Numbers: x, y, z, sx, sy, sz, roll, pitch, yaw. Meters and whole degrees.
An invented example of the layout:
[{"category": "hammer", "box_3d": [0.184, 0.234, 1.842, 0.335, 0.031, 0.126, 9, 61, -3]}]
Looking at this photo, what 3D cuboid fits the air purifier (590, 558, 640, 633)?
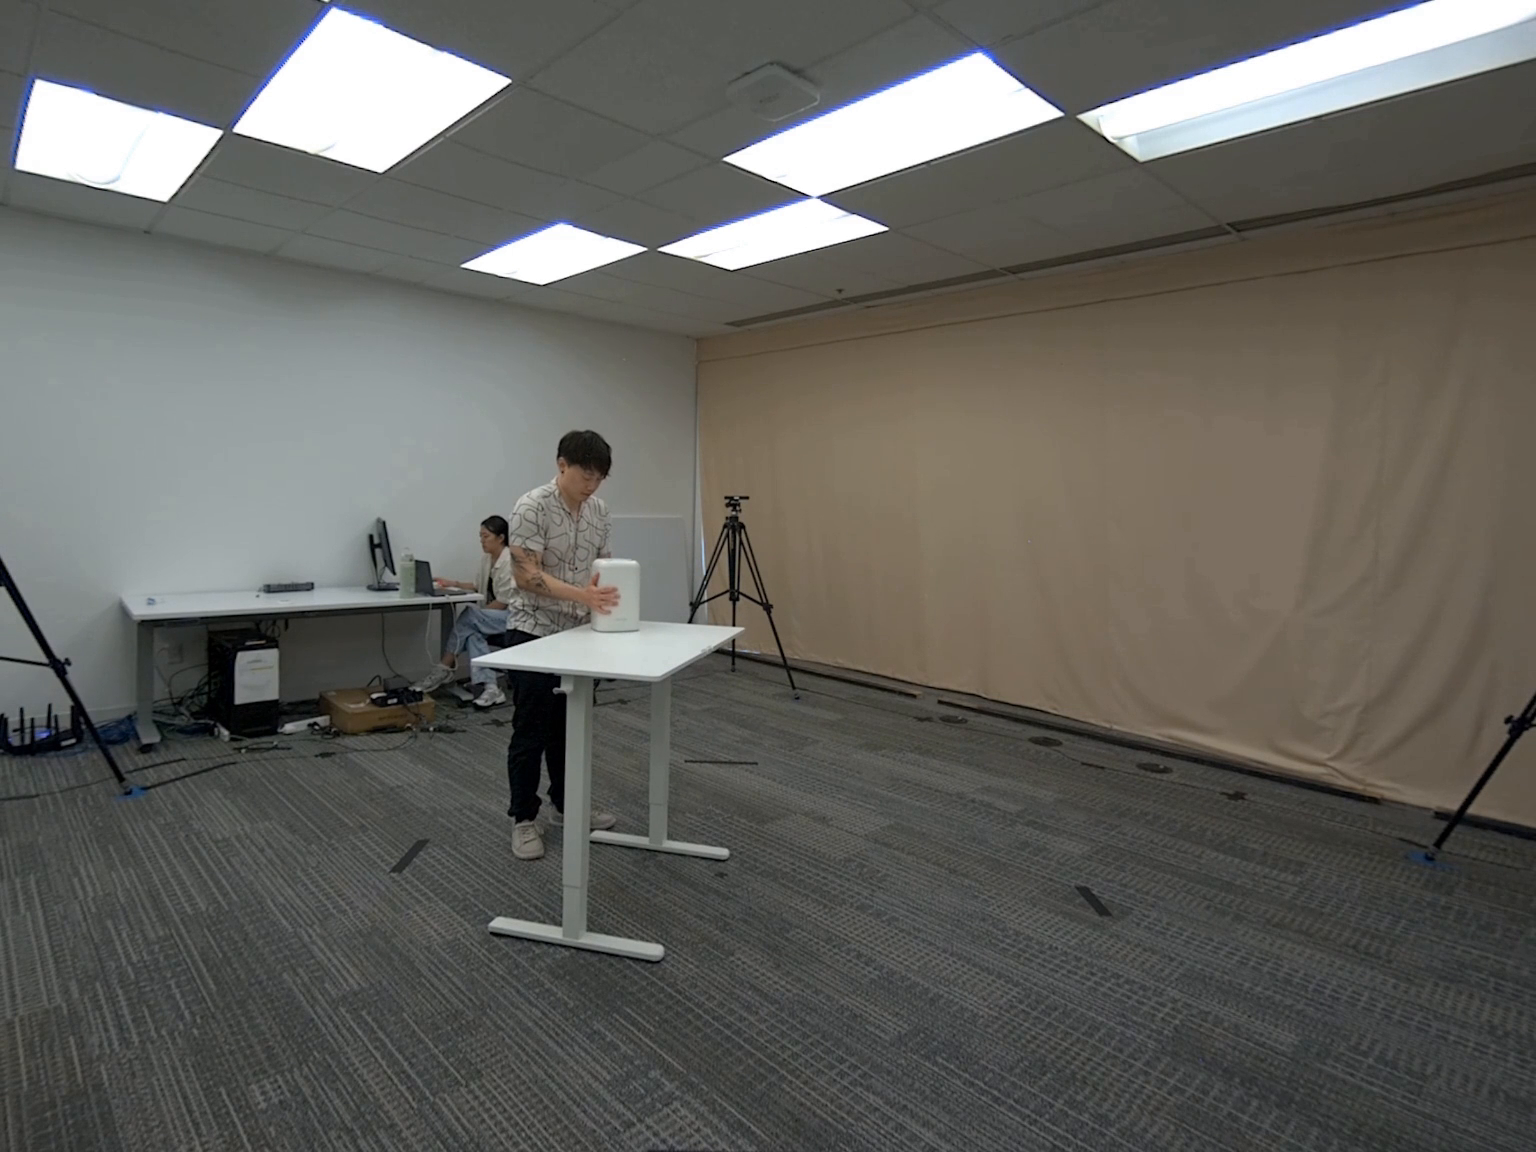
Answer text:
[{"category": "air purifier", "box_3d": [-0.595, 0.069, 3.196, 0.169, 0.264, 0.174, 0, 4, -18]}]
